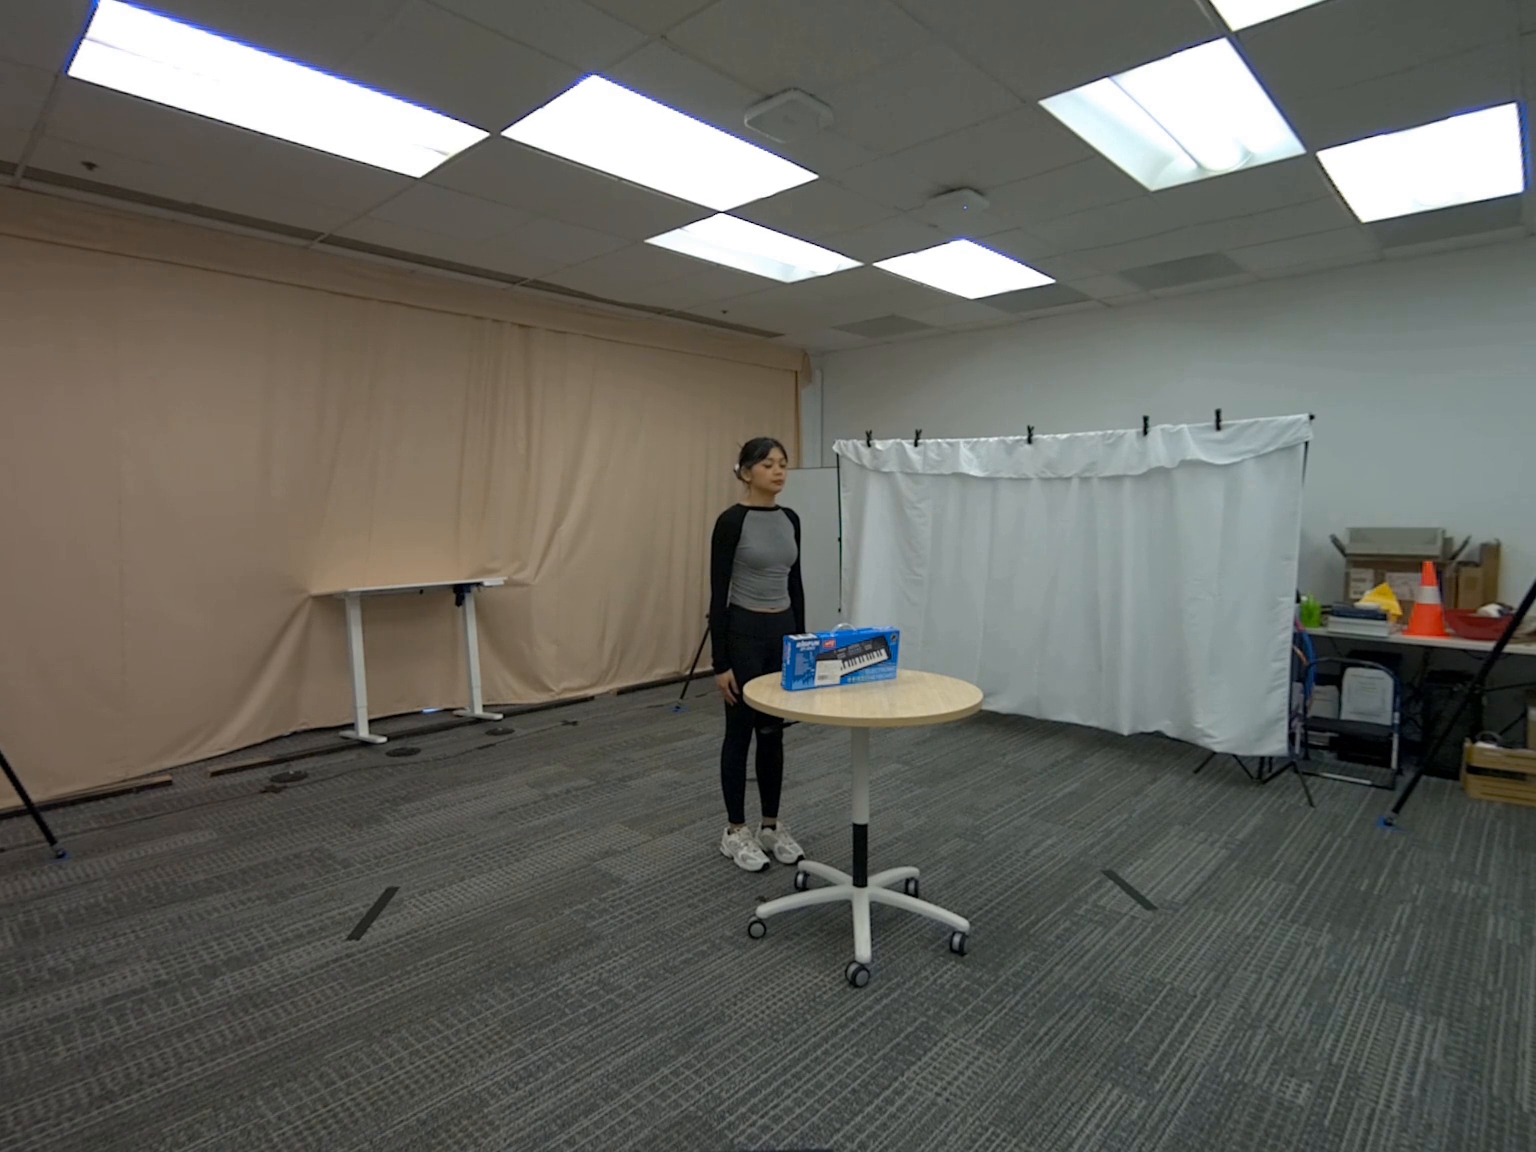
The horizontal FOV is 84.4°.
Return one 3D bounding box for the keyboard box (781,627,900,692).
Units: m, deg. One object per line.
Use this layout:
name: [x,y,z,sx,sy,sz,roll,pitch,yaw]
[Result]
keyboard box: [0.251,0.276,2.830,0.426,0.175,0.061,-2,10,-26]
